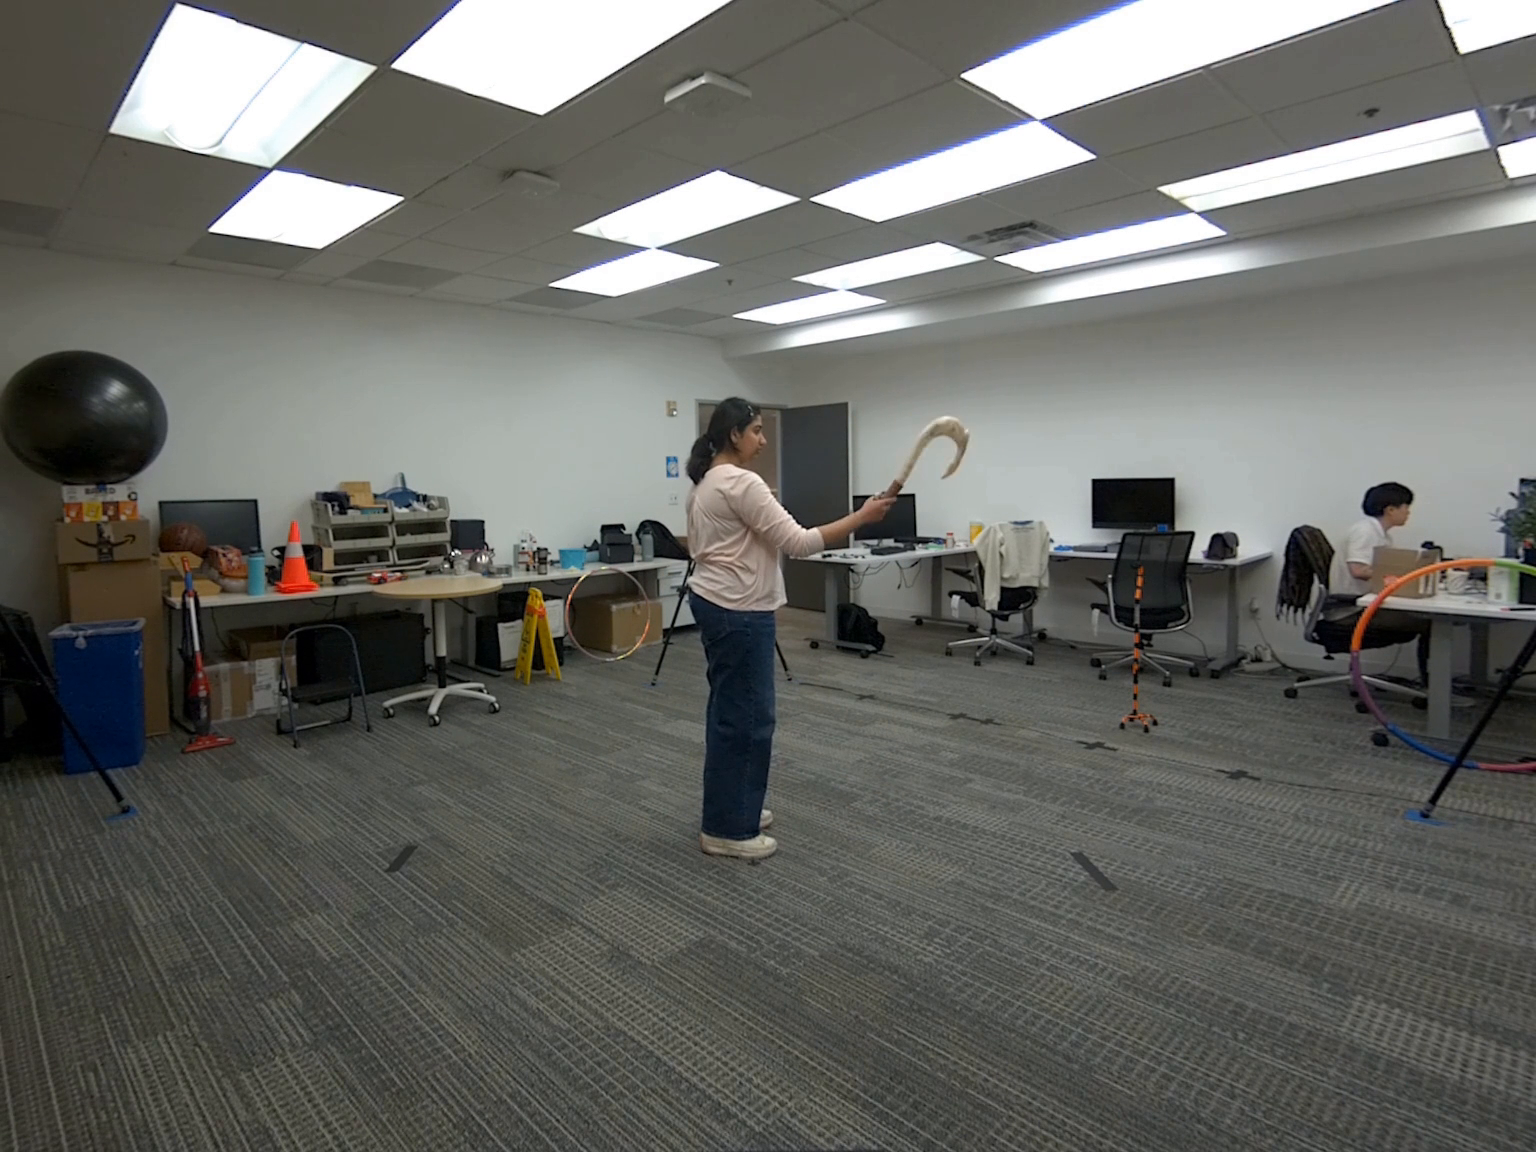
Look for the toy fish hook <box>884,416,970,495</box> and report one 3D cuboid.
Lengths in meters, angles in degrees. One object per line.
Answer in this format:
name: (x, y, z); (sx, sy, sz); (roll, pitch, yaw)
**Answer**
toy fish hook: (0.532, -0.355, 3.155); (0.218, 0.506, 0.050); (37, 6, -23)
